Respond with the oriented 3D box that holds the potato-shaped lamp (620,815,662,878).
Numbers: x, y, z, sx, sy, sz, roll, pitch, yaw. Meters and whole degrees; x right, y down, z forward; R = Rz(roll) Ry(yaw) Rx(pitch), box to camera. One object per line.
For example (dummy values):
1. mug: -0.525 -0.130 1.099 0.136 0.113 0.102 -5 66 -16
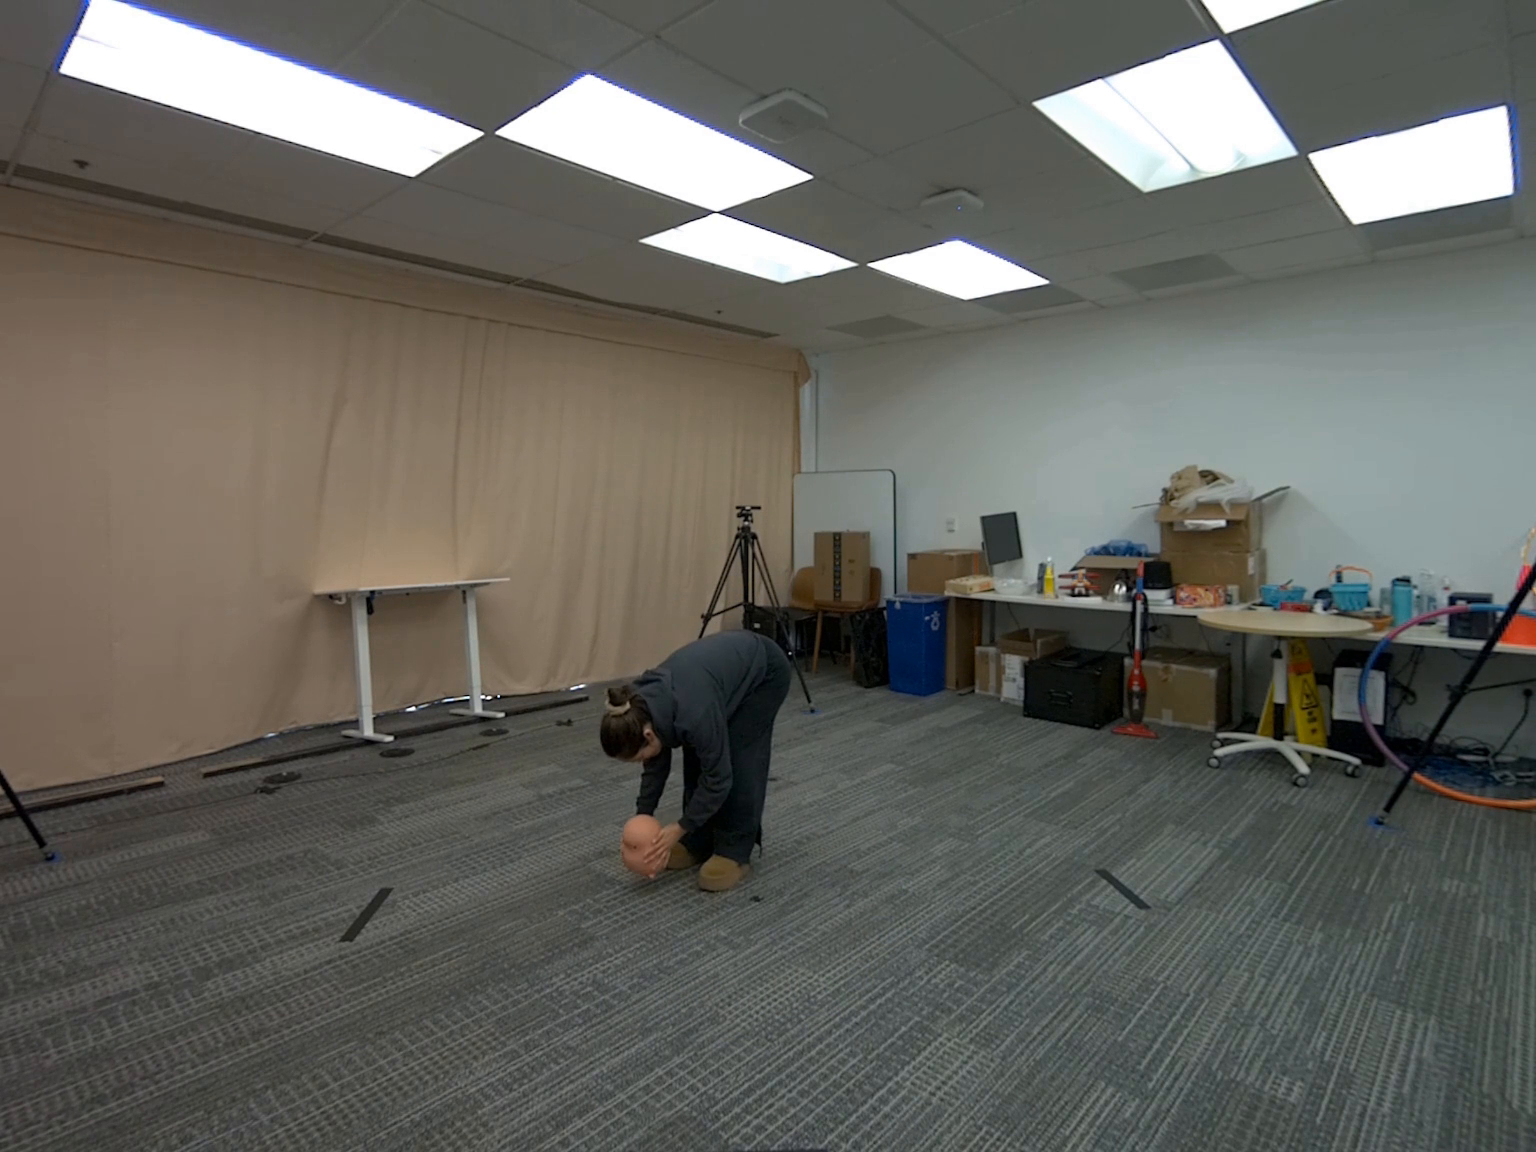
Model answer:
1. potato-shaped lamp: -0.424 0.945 3.028 0.170 0.194 0.169 7 33 34
